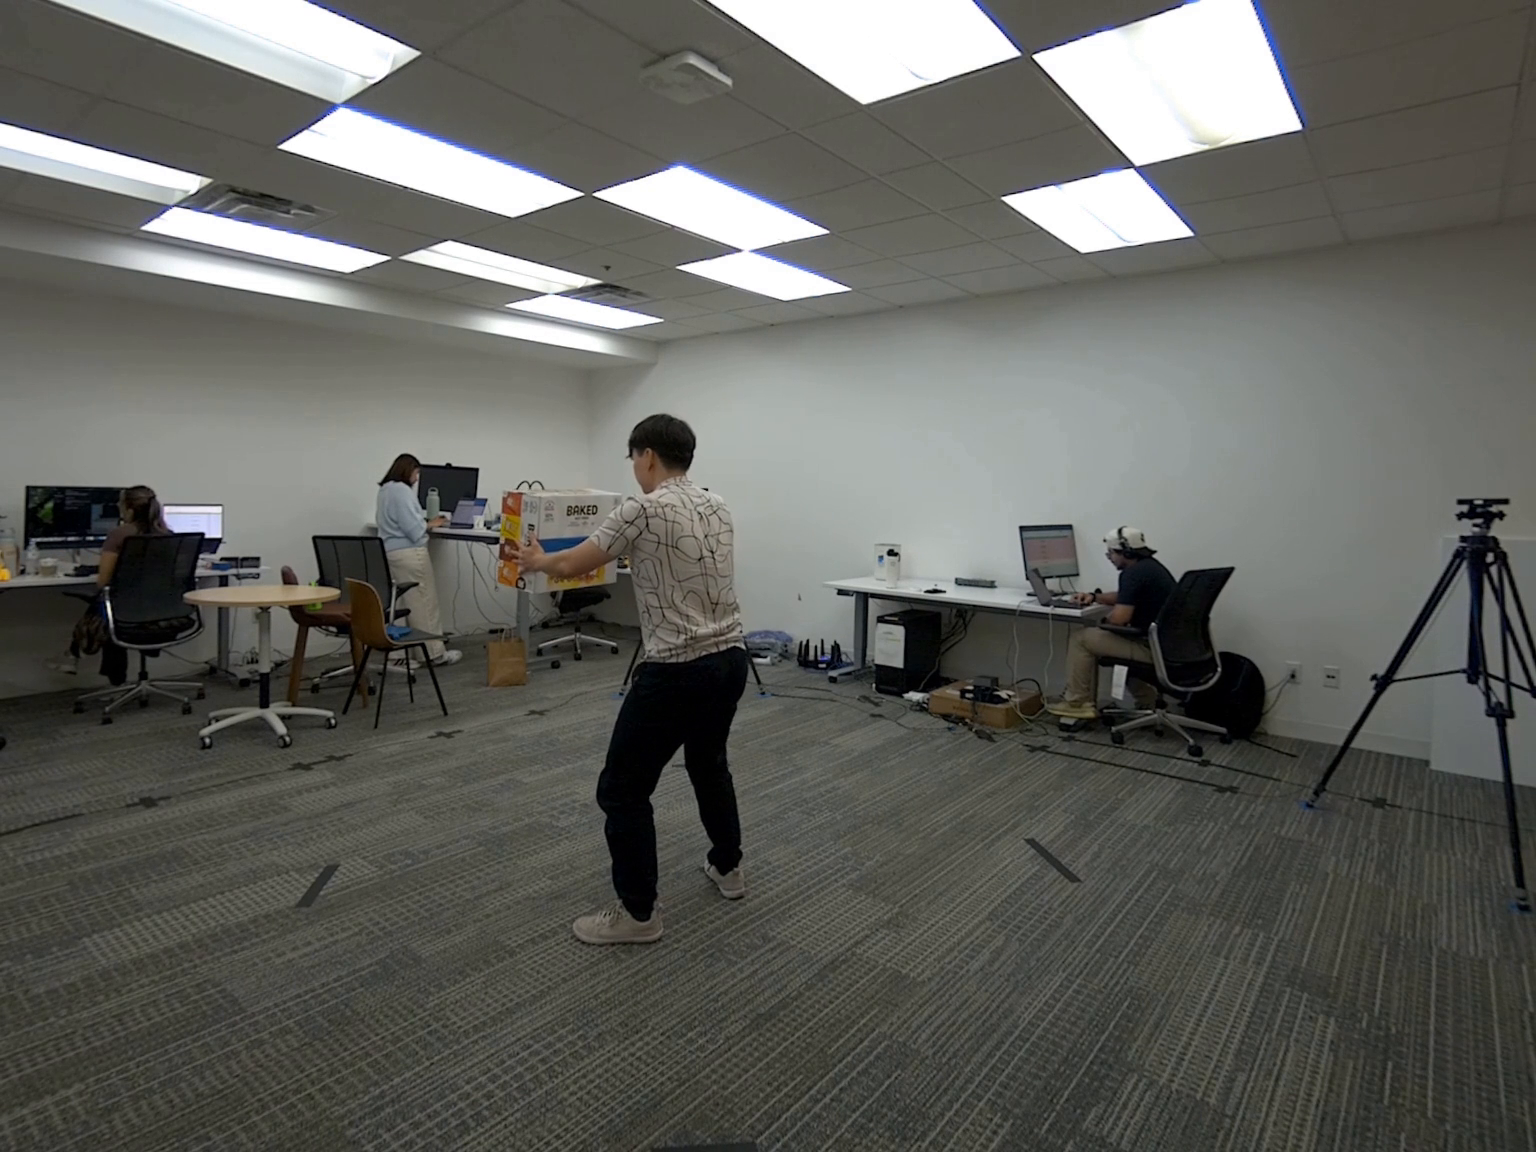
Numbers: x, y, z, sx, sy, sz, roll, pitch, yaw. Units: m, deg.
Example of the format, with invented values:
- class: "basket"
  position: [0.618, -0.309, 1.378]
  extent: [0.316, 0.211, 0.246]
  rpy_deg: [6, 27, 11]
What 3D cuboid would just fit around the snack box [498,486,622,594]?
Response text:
- class: "snack box"
  position: [-0.773, -0.140, 3.127]
  extent: [0.213, 0.338, 0.394]
  rpy_deg: [12, 11, 35]
